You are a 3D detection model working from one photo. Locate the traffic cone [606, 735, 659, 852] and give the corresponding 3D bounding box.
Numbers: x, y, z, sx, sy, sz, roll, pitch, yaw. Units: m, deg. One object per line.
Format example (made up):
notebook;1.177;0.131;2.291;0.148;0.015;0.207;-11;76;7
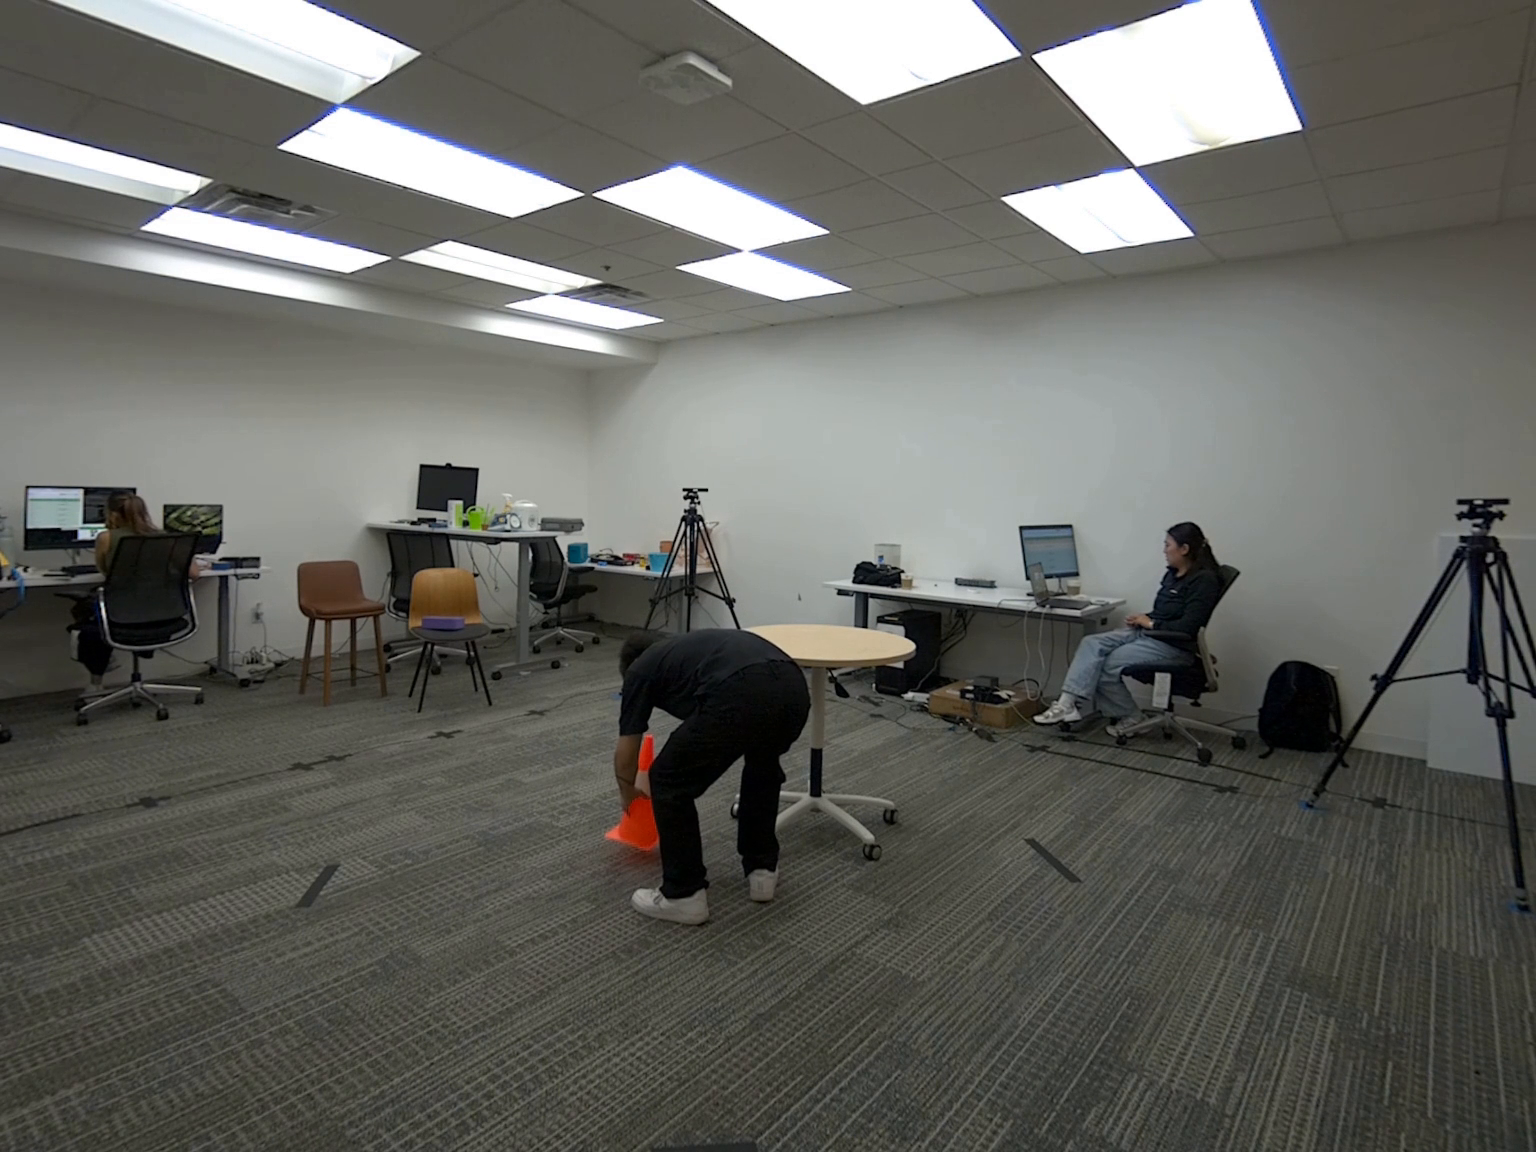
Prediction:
traffic cone;-0.480;0.794;3.213;0.210;0.381;0.199;9;8;23
